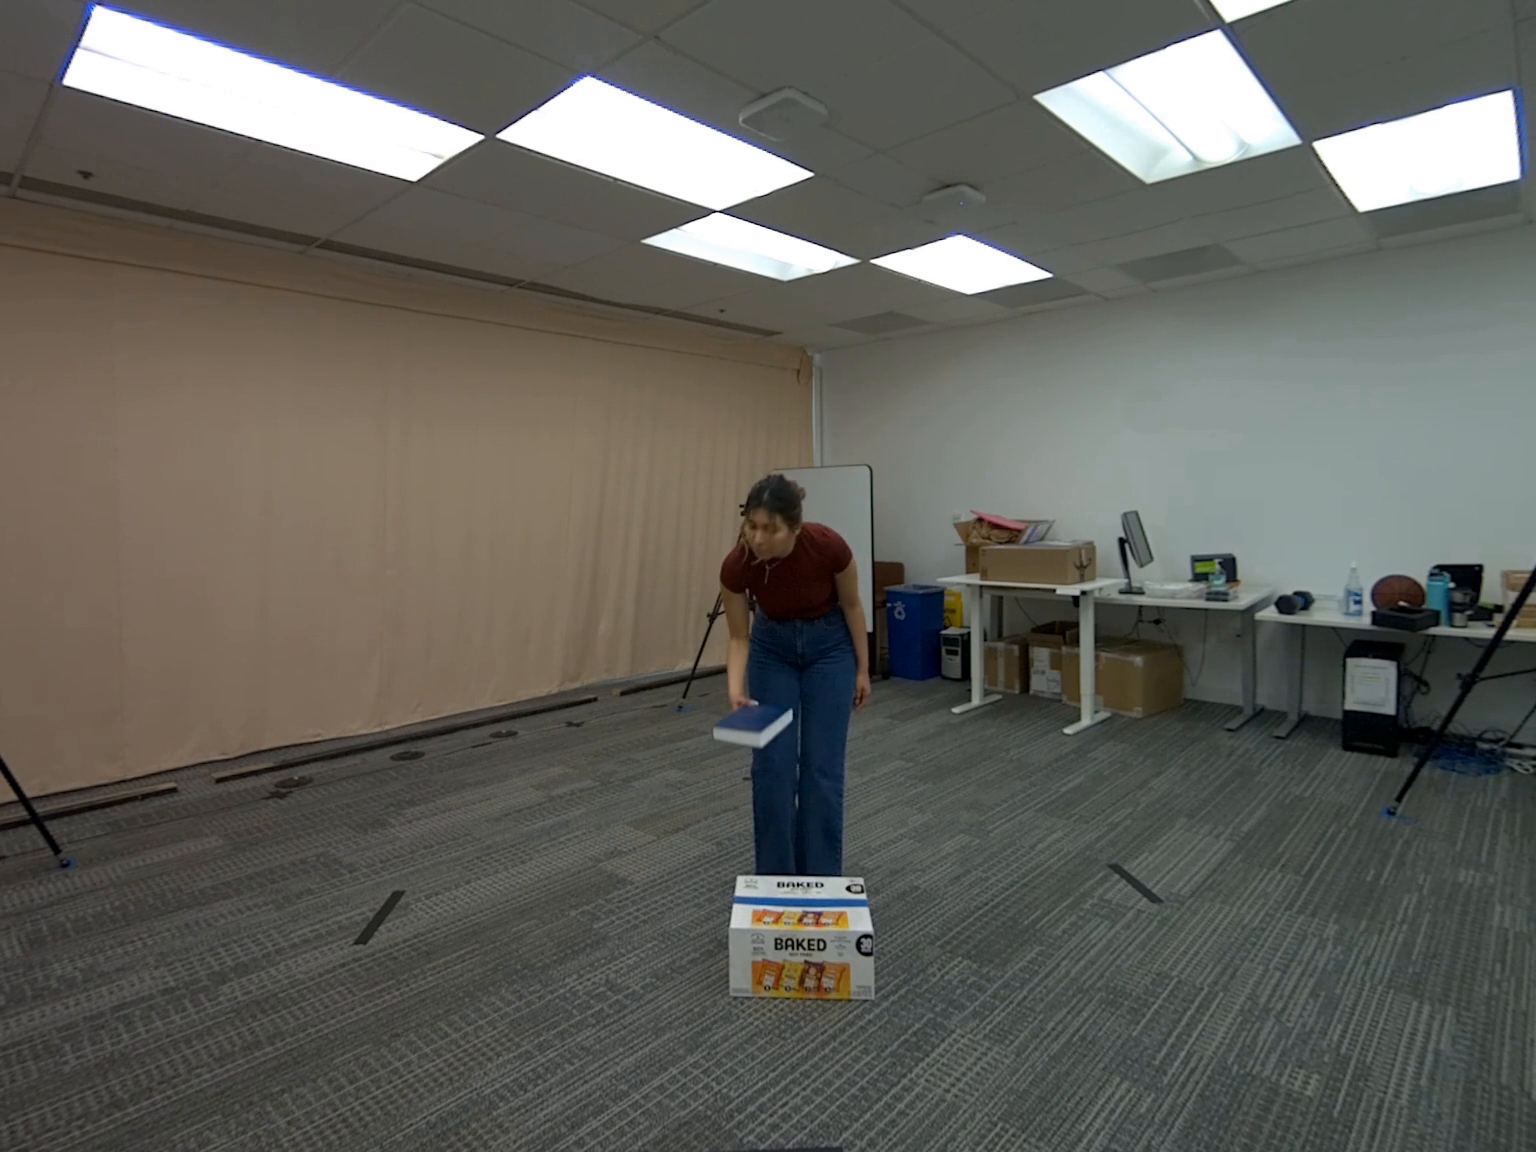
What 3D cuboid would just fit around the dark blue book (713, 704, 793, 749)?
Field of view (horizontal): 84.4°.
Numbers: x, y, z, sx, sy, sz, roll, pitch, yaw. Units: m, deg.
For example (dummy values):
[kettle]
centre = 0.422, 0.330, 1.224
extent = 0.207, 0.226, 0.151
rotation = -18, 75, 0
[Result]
[dark blue book]
centre = -0.041, 0.444, 2.549
extent = 0.167, 0.045, 0.240
rotation = 2, 10, 24
